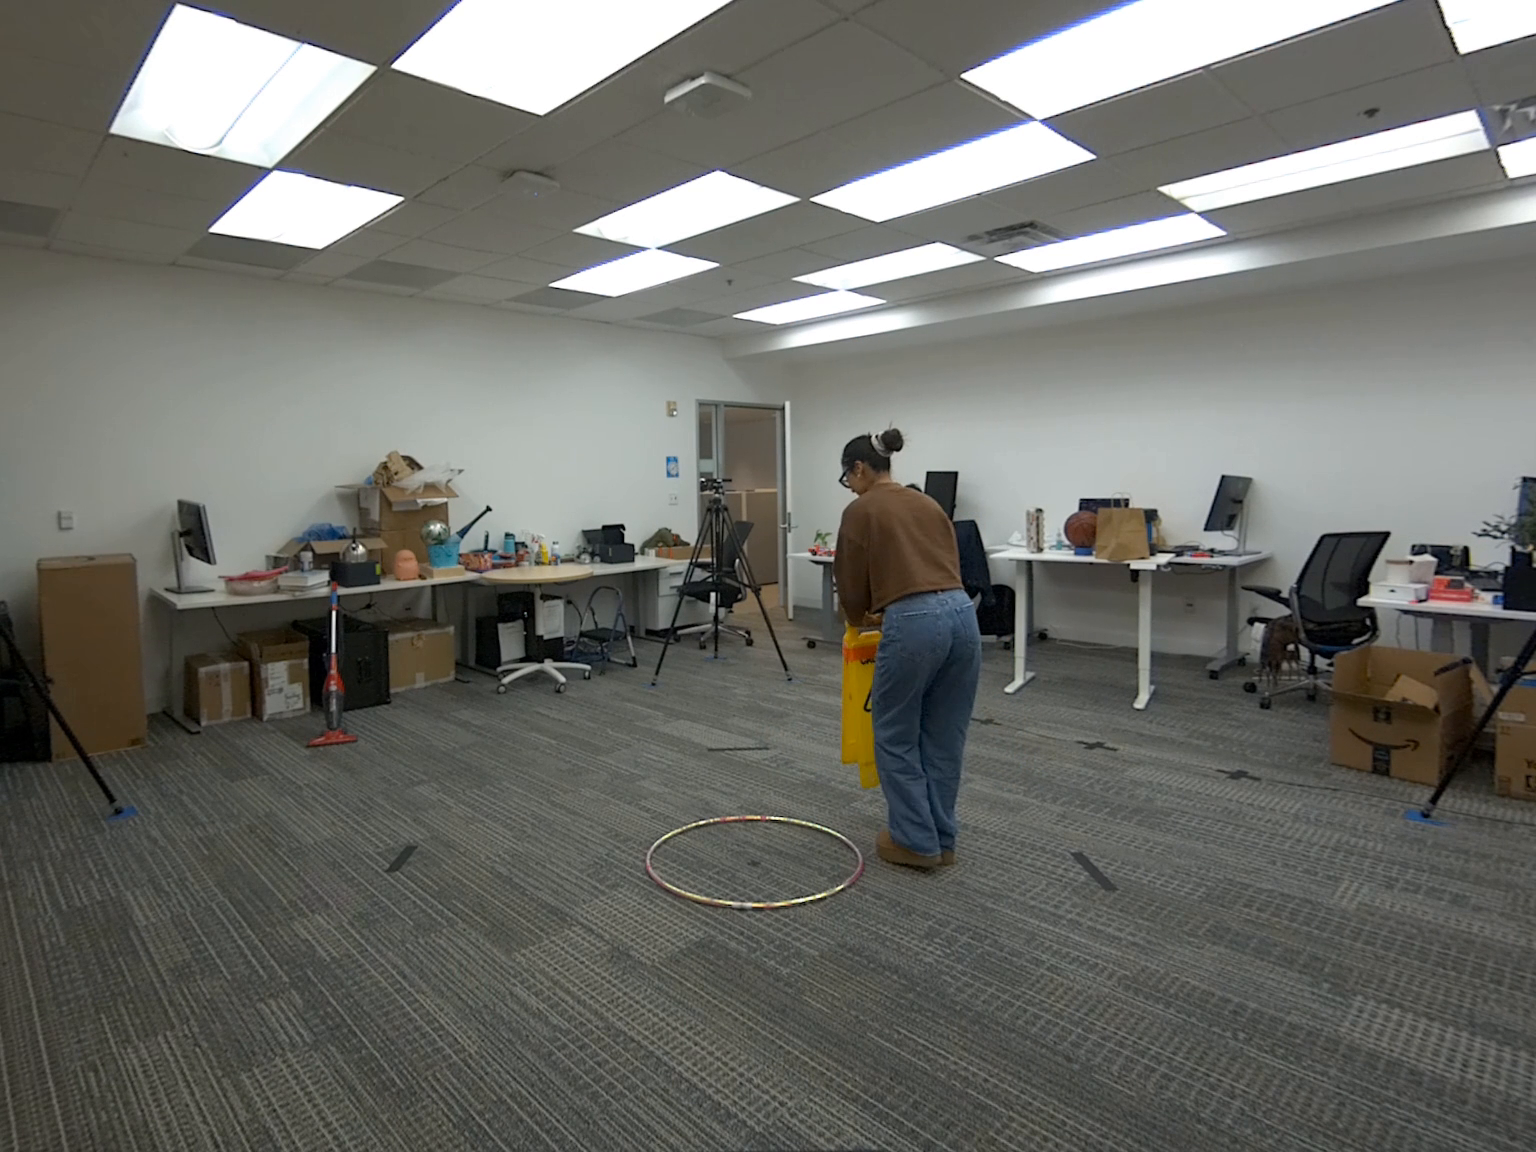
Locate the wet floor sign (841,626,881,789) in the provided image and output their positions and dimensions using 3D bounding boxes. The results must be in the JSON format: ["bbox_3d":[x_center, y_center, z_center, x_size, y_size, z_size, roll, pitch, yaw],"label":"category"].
[{"bbox_3d":[0.435,0.464,3.406,0.280,0.642,0.294,-6,6,-10],"label":"wet floor sign"}]
